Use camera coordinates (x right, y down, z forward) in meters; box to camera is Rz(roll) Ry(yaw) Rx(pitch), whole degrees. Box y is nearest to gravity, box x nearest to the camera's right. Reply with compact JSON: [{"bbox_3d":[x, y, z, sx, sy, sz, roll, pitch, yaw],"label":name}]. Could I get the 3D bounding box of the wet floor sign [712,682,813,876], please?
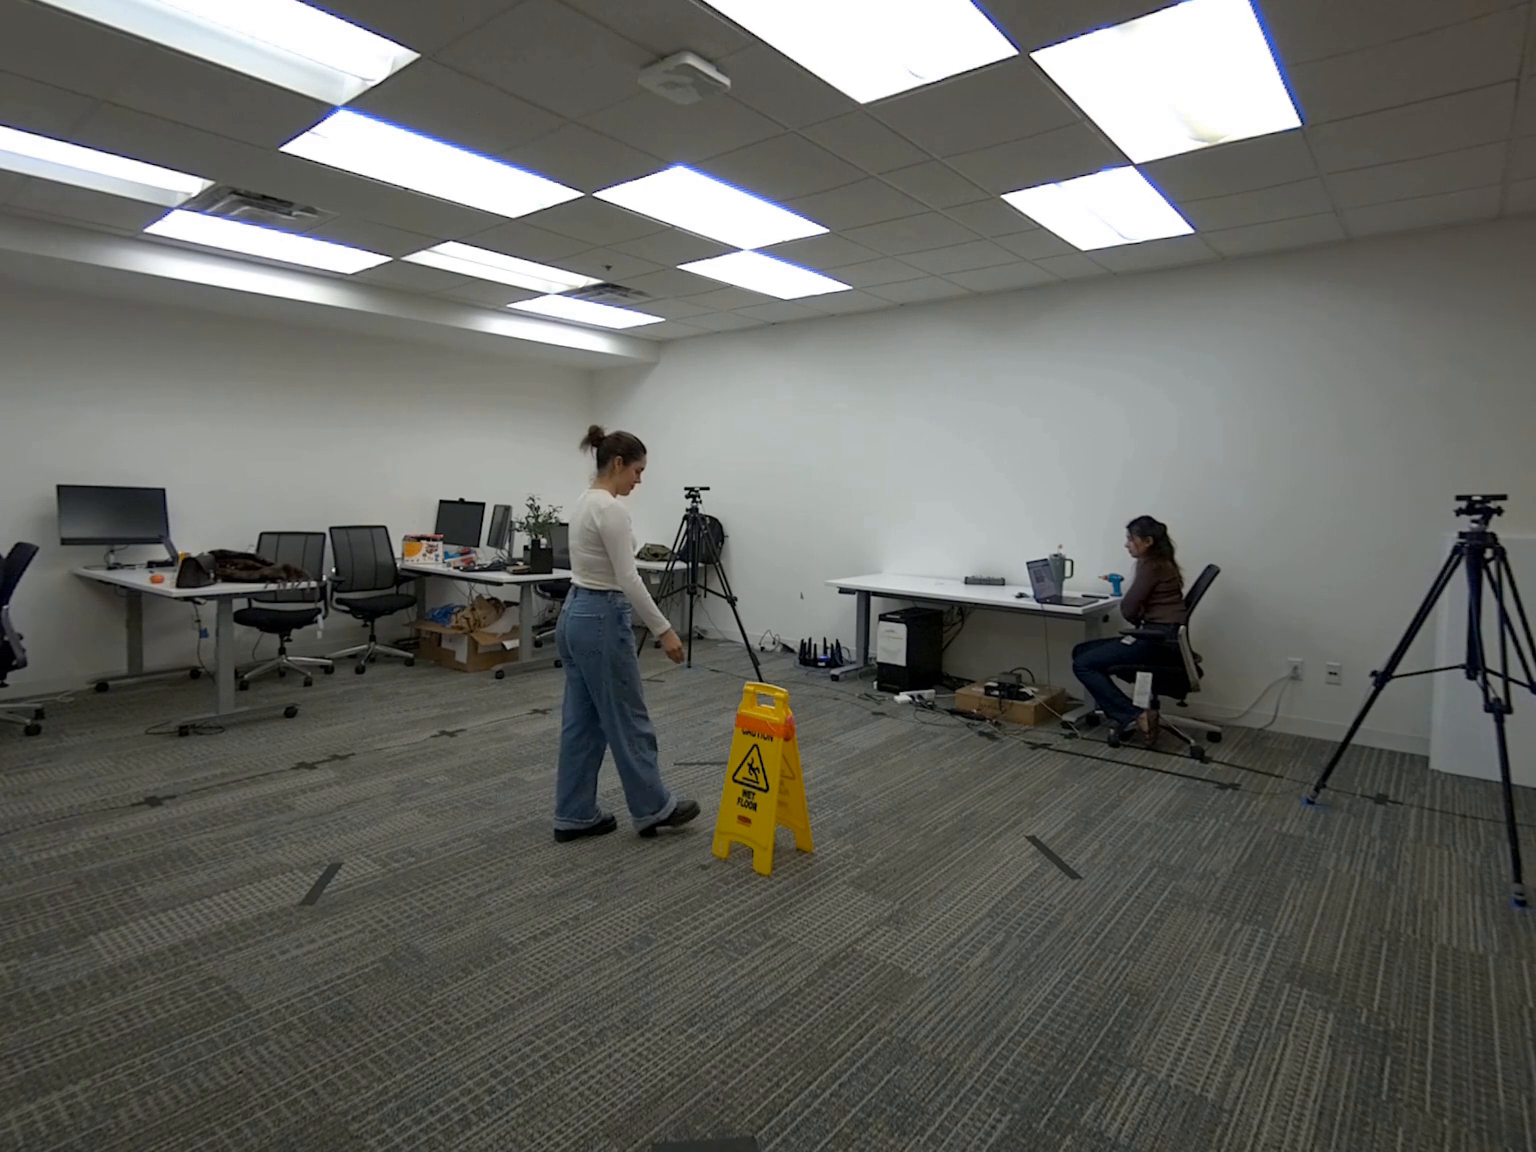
[{"bbox_3d":[-0.020,0.731,3.235,0.292,0.644,0.281,4,4,39],"label":"wet floor sign"}]
